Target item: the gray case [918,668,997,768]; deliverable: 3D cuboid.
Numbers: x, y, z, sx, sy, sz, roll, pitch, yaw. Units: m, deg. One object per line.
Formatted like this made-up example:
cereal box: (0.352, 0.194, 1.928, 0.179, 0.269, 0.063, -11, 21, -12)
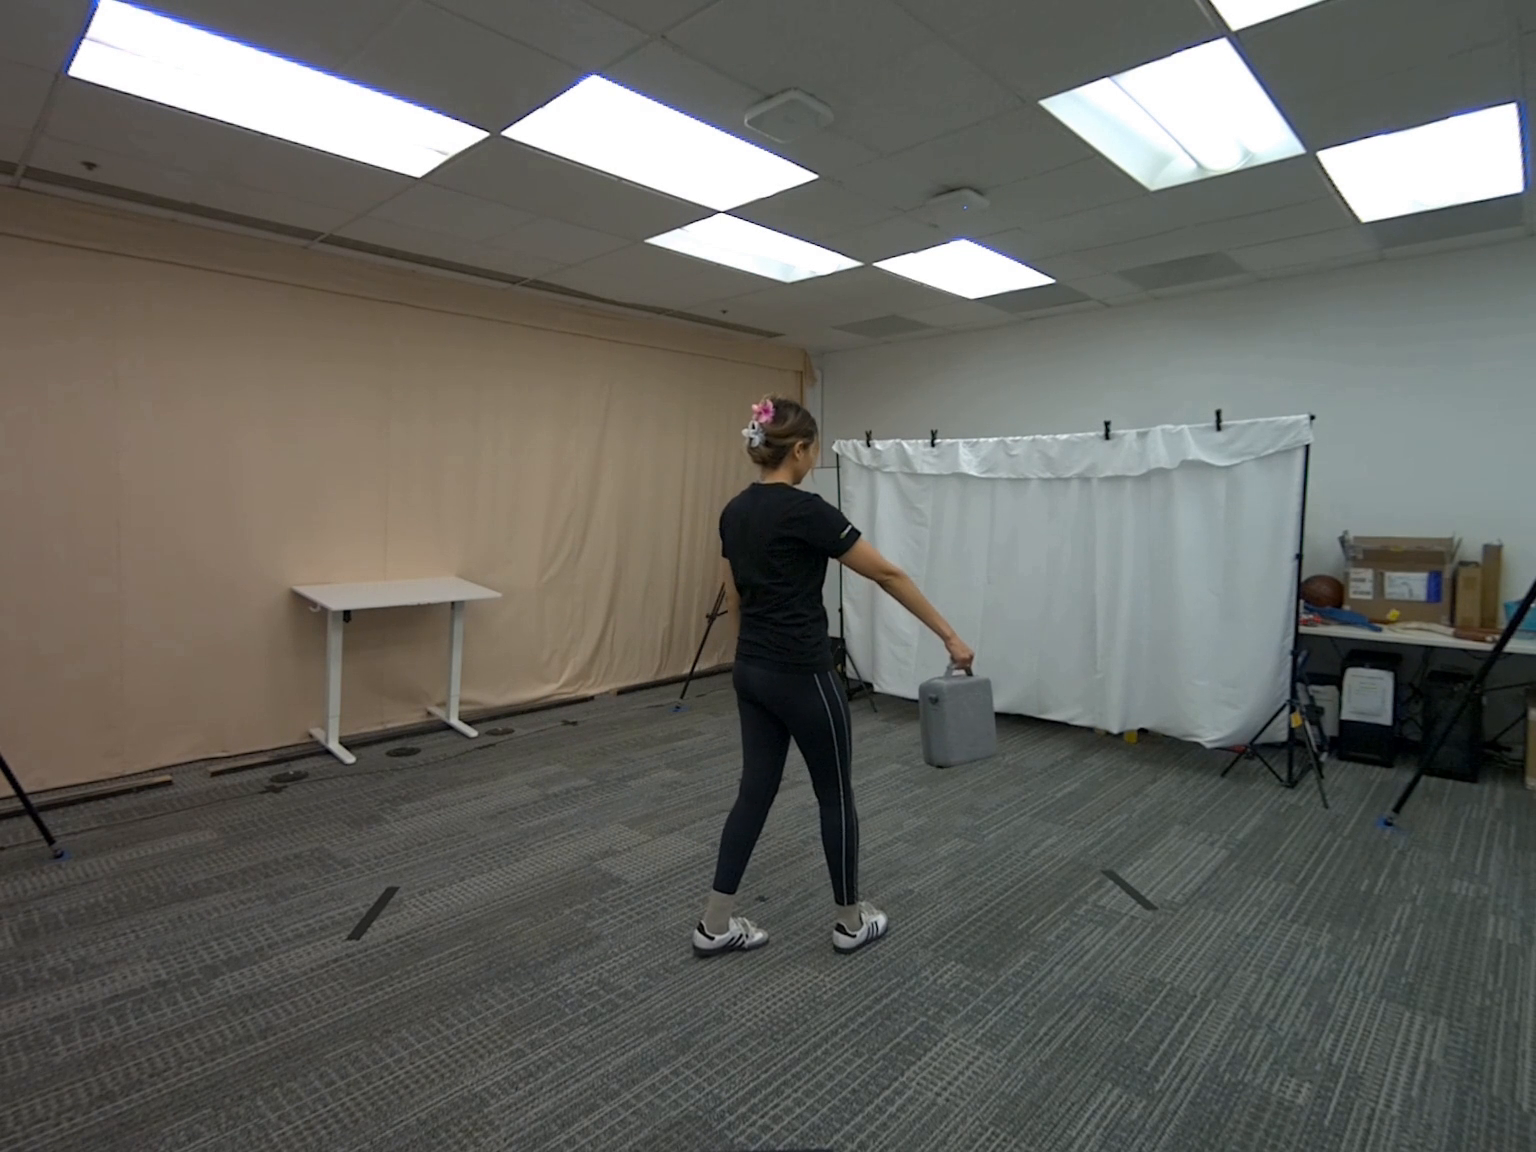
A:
gray case: (0.582, 0.426, 2.516, 0.249, 0.261, 0.107, 0, -6, -38)
